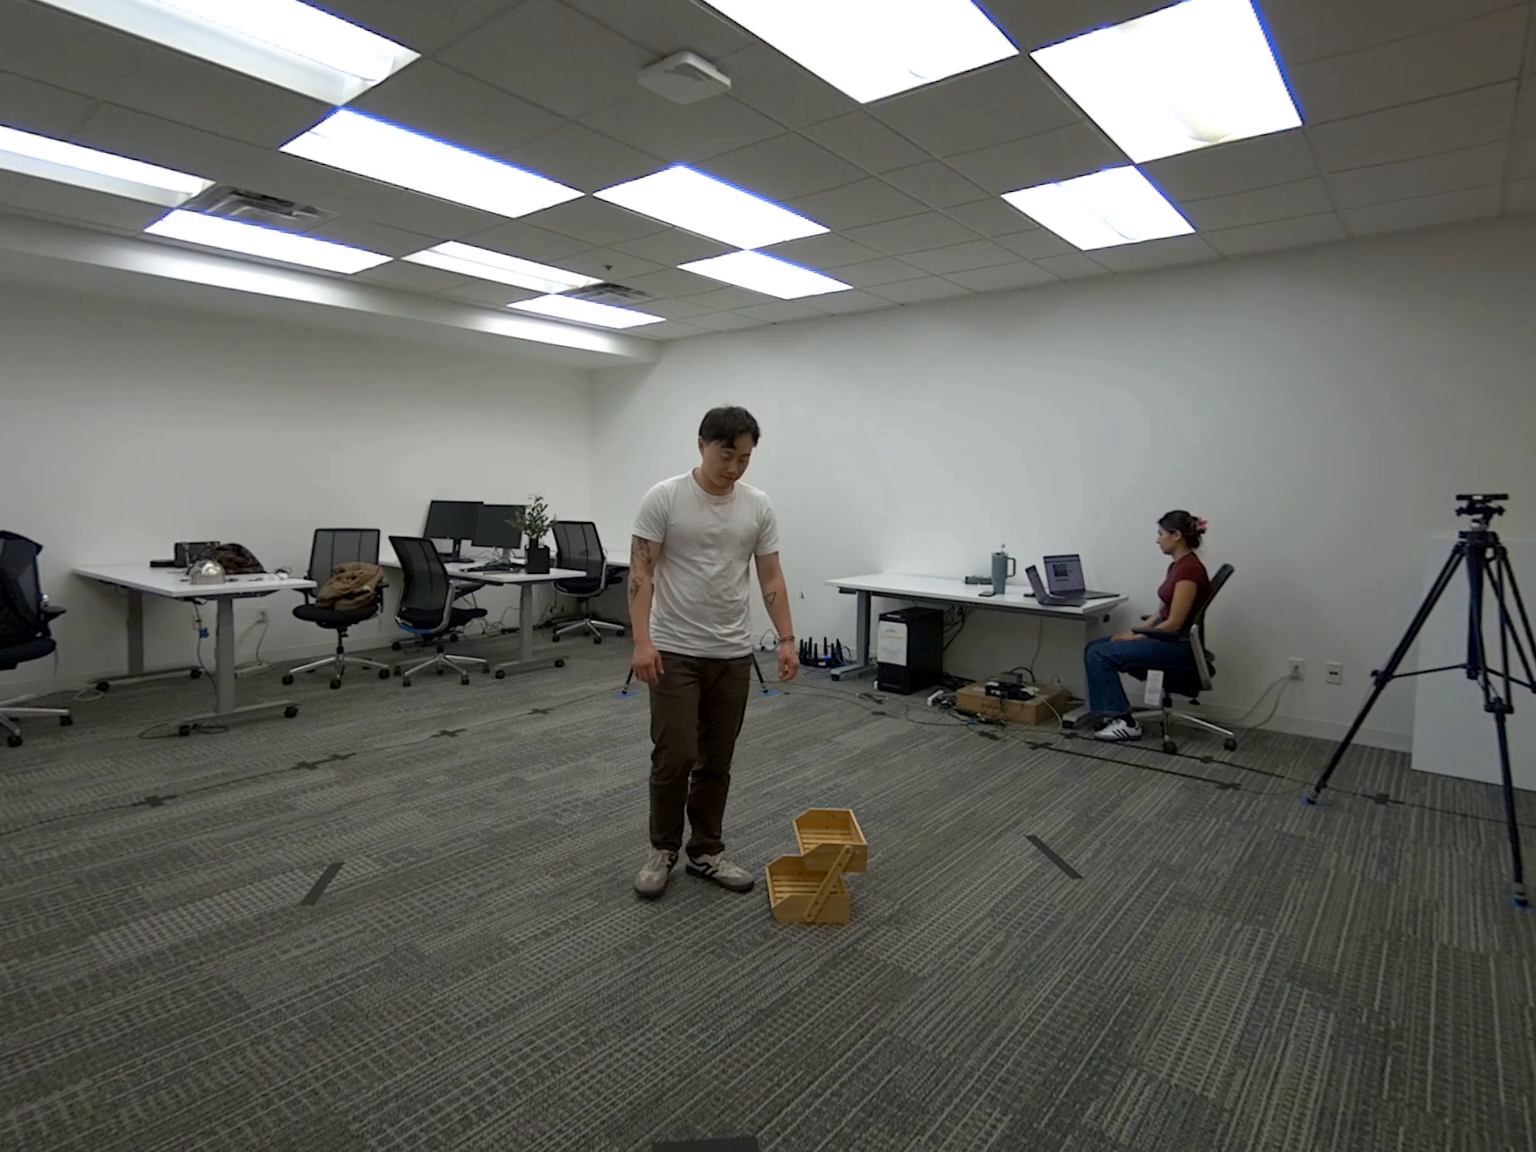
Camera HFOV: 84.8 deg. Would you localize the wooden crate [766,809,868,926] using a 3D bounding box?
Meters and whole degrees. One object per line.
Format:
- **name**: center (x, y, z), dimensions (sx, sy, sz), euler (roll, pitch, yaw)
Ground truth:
- **wooden crate**: center (0.143, 0.961, 2.867), dimensions (0.301, 0.272, 0.326), euler (1, 4, -3)
